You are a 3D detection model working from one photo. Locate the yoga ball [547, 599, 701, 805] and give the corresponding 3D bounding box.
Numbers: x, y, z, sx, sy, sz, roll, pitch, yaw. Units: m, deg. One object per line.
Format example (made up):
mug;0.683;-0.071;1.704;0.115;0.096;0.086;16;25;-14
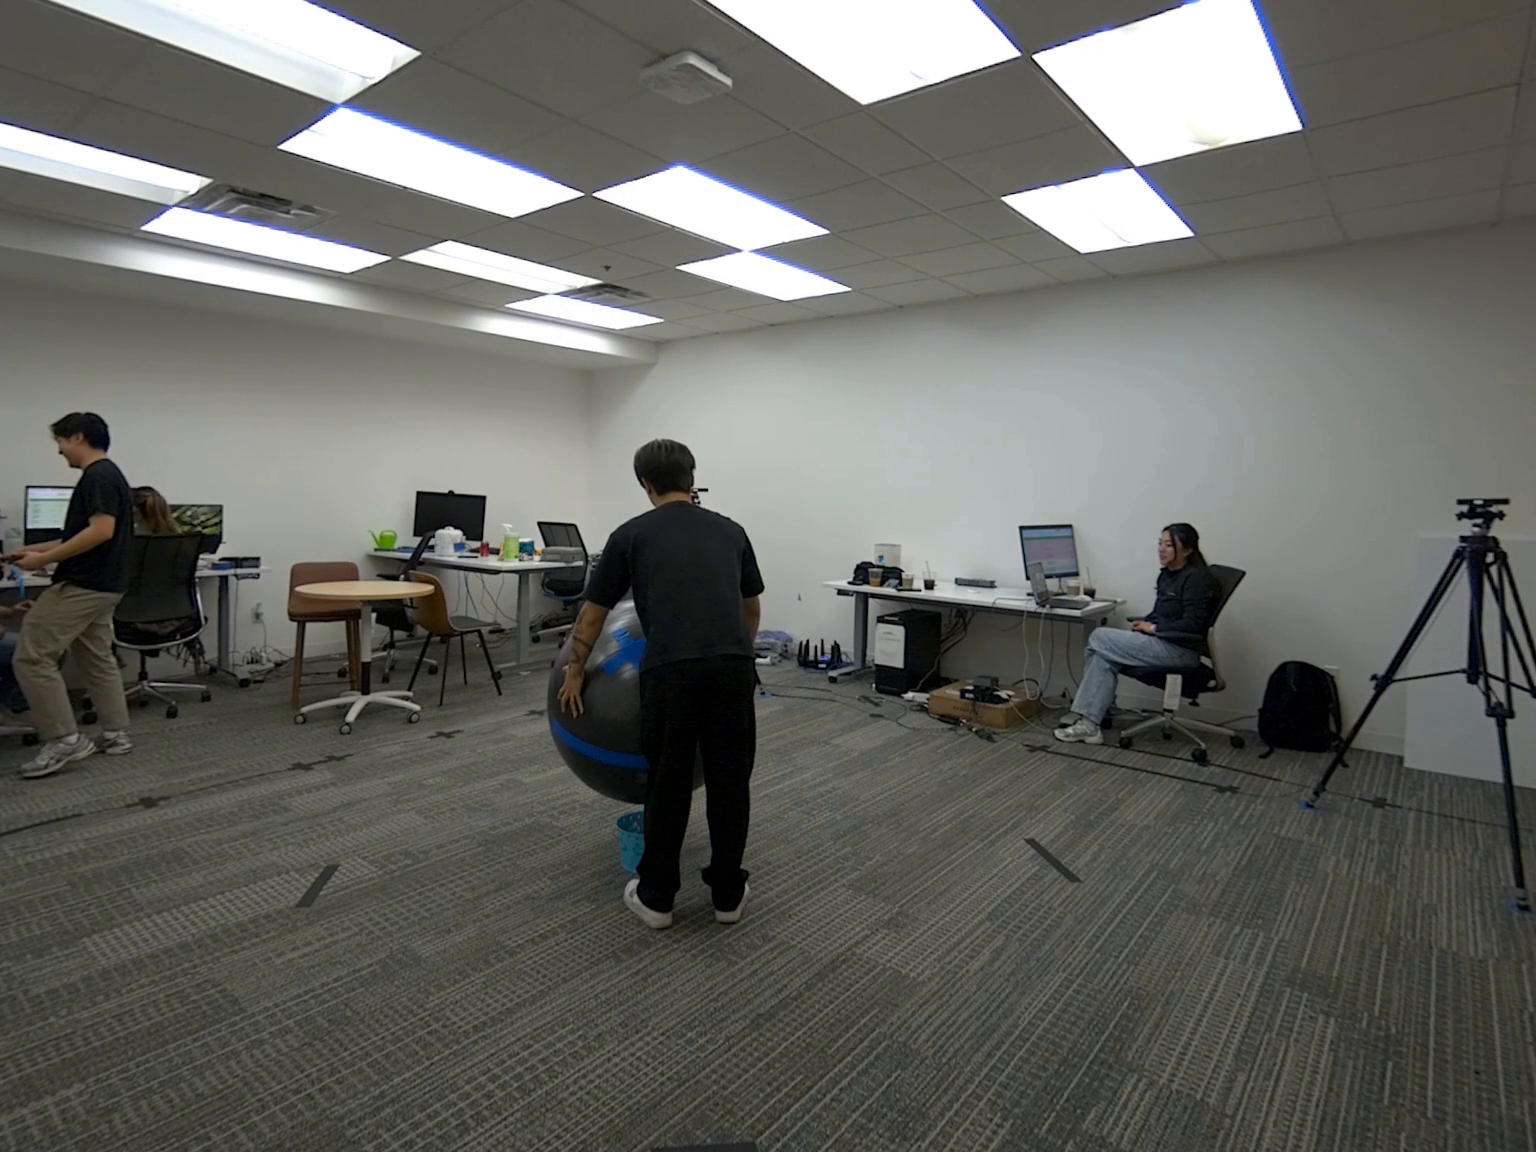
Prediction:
yoga ball;-0.474;0.467;3.239;0.757;0.755;0.762;1;4;-2
